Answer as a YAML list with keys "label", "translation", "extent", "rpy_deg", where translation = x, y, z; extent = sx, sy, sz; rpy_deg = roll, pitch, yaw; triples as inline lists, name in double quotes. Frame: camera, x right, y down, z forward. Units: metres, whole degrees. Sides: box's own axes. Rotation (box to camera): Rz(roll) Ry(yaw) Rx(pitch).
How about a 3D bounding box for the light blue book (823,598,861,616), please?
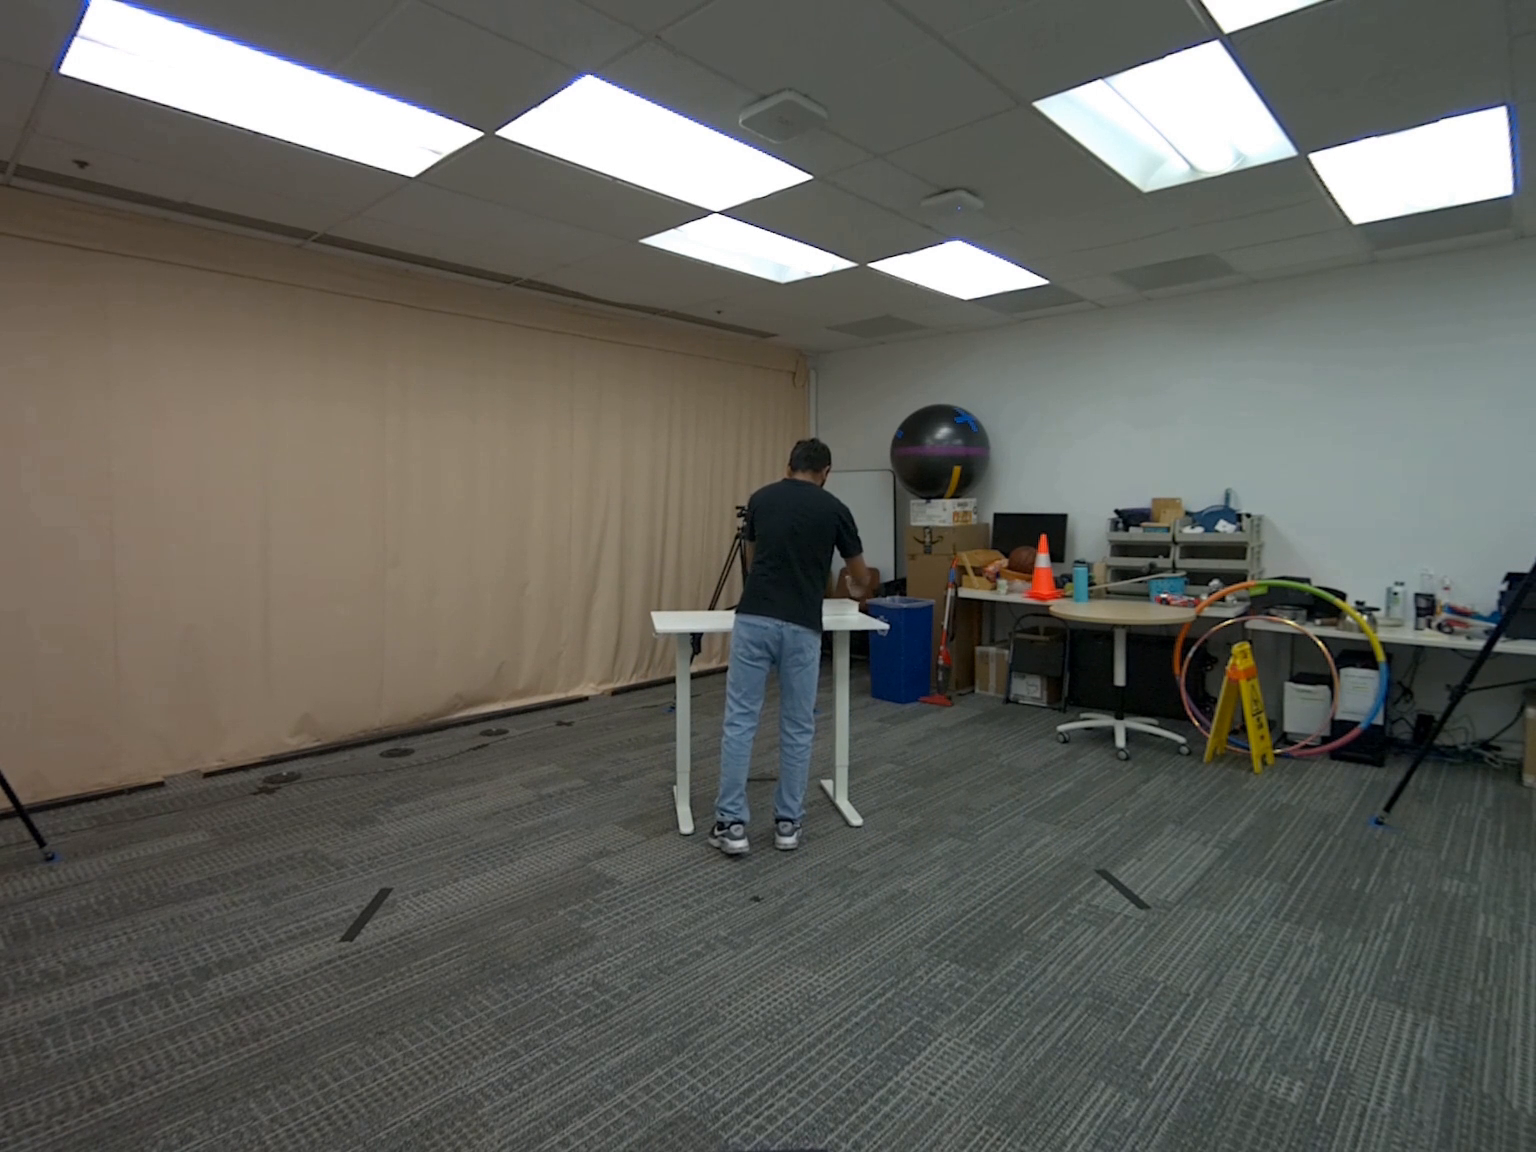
- label: "light blue book"
  translation: [0.280, 0.145, 4.040]
  extent: [0.258, 0.059, 0.194]
  rpy_deg: [-1, 3, -11]
